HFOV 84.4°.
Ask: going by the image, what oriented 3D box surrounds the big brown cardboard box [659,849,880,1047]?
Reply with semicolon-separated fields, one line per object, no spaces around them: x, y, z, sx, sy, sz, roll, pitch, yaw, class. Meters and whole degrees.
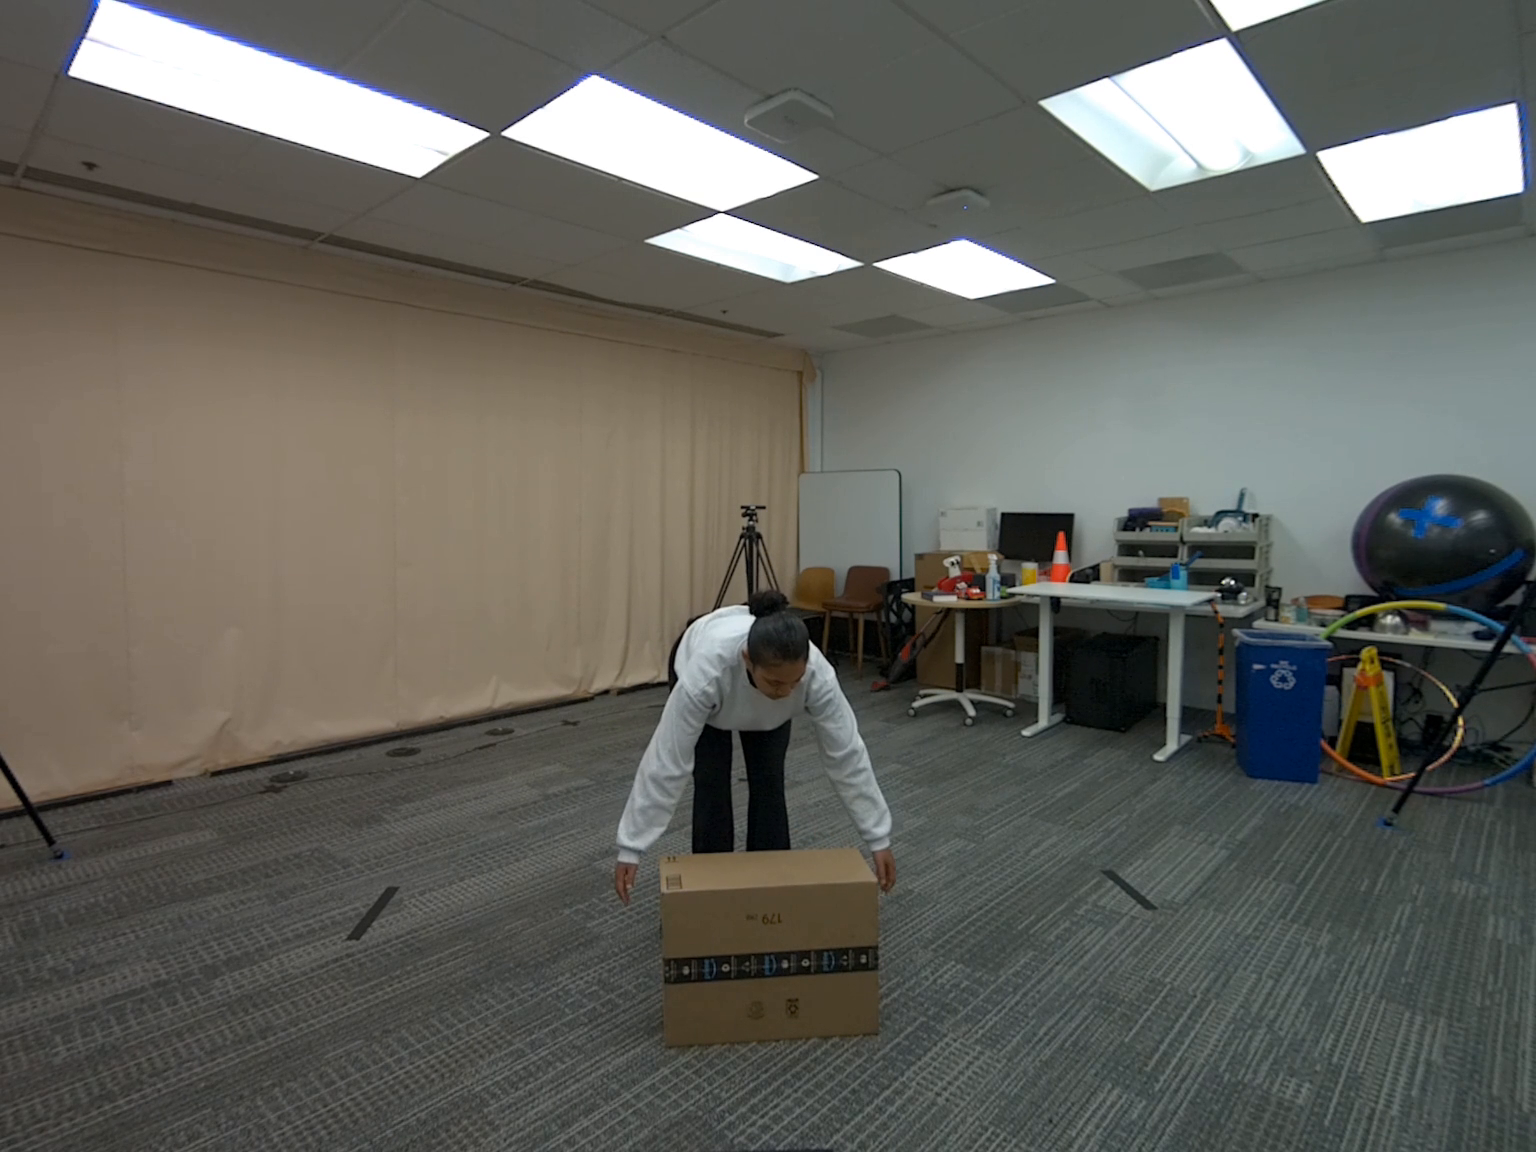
-0.005;0.995;2.276;0.587;0.416;0.234;0;4;-3;big brown cardboard box
